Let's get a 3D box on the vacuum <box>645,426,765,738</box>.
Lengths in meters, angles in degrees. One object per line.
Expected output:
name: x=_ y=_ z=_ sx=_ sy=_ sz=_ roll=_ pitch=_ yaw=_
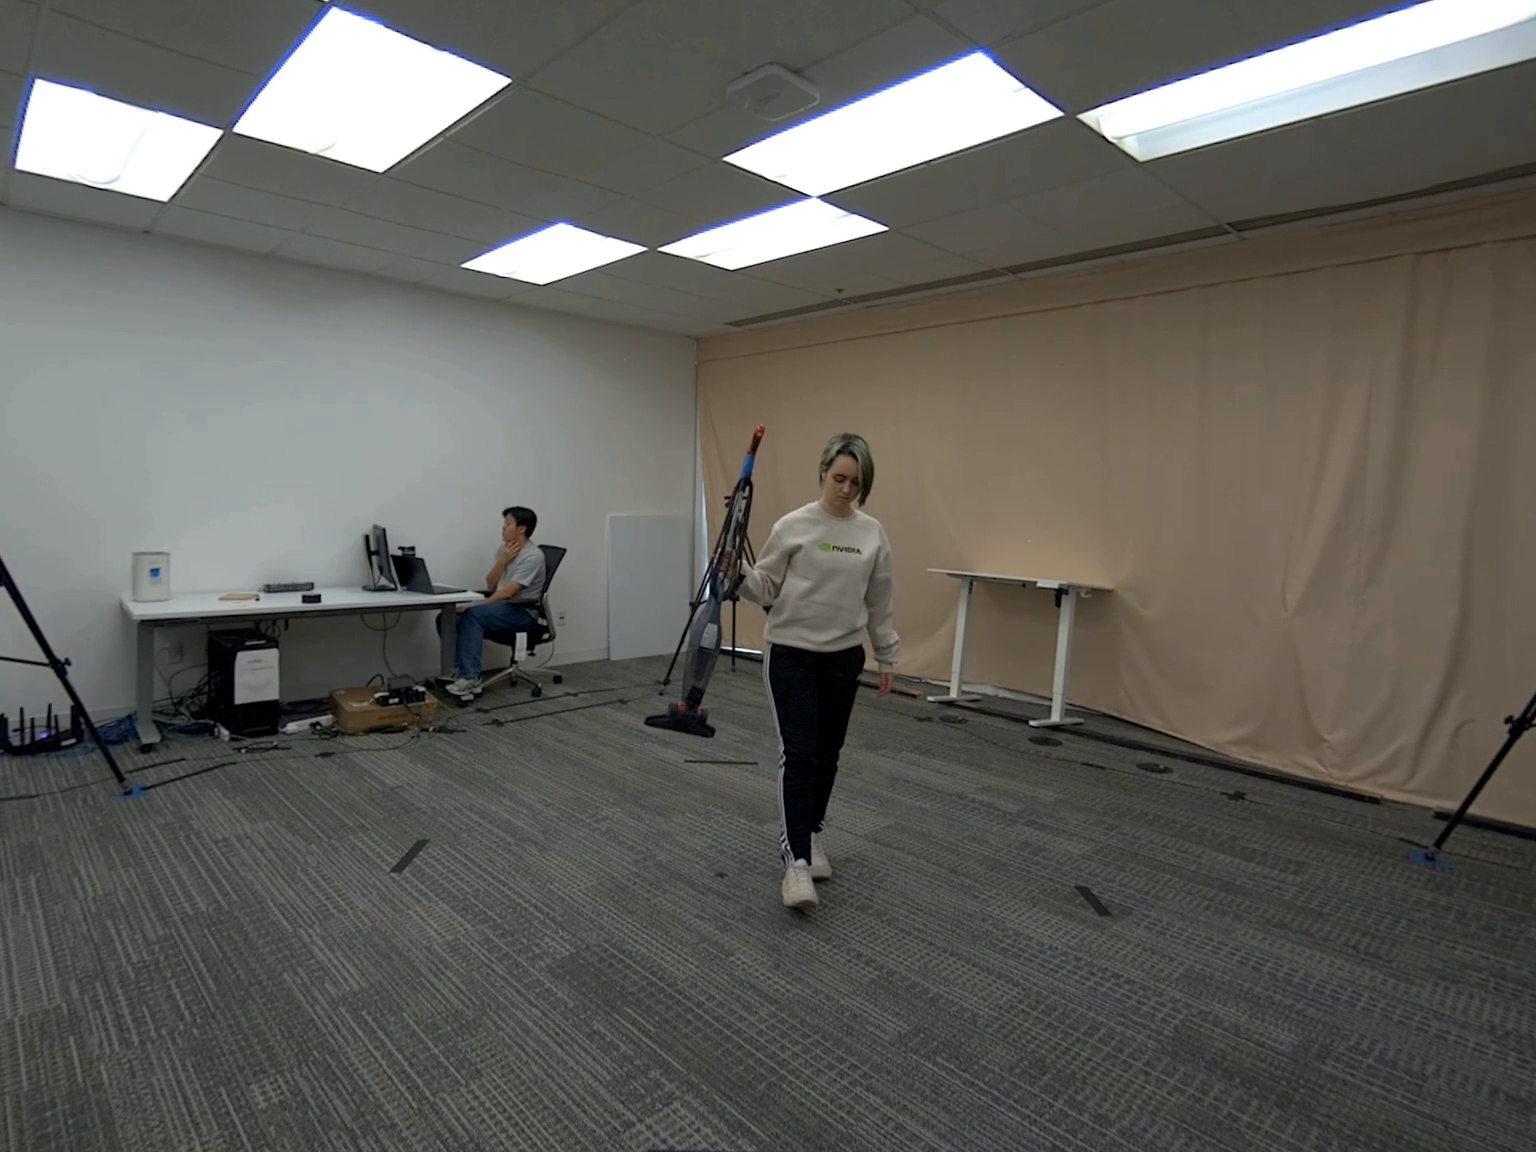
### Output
vacuum: x=-0.169 y=-0.004 z=2.906 sx=0.249 sy=1.049 sz=0.146 roll=14 pitch=1 yaw=-13
